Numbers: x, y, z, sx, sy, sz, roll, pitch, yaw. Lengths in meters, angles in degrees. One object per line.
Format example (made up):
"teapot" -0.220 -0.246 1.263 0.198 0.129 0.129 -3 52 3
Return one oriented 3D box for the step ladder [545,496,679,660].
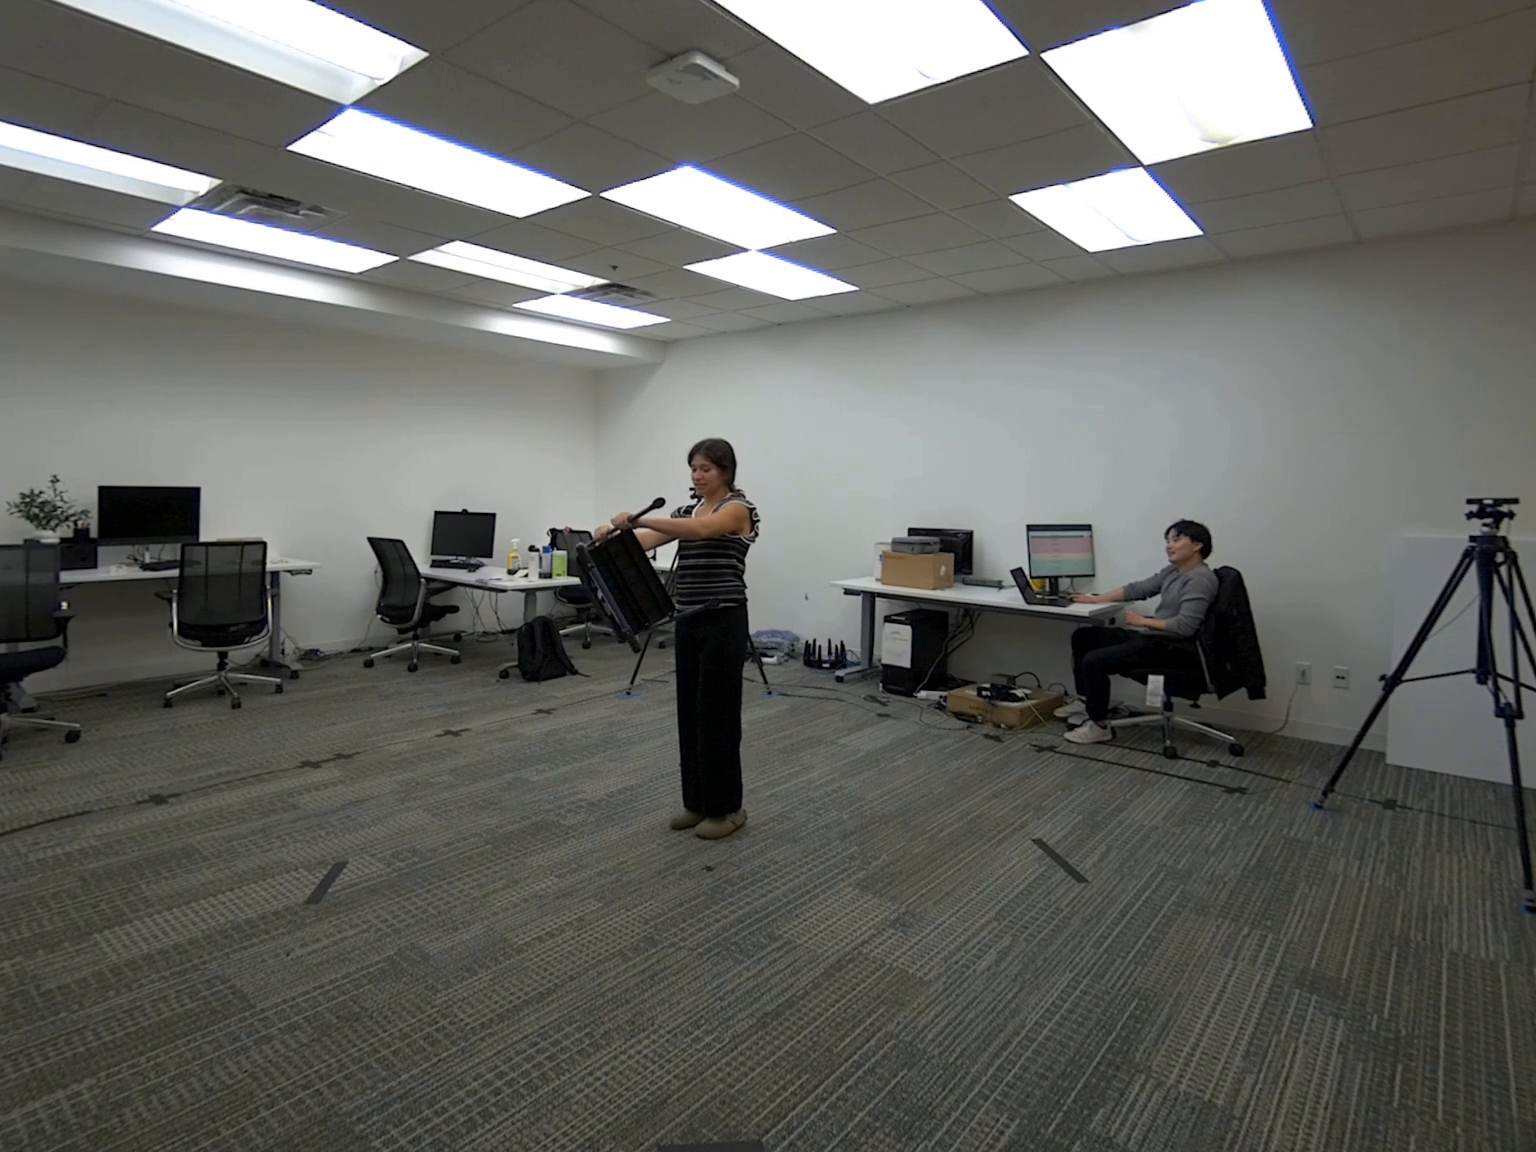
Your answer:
"step ladder" -0.528 0.025 3.152 0.345 0.429 0.615 -28 4 -25
